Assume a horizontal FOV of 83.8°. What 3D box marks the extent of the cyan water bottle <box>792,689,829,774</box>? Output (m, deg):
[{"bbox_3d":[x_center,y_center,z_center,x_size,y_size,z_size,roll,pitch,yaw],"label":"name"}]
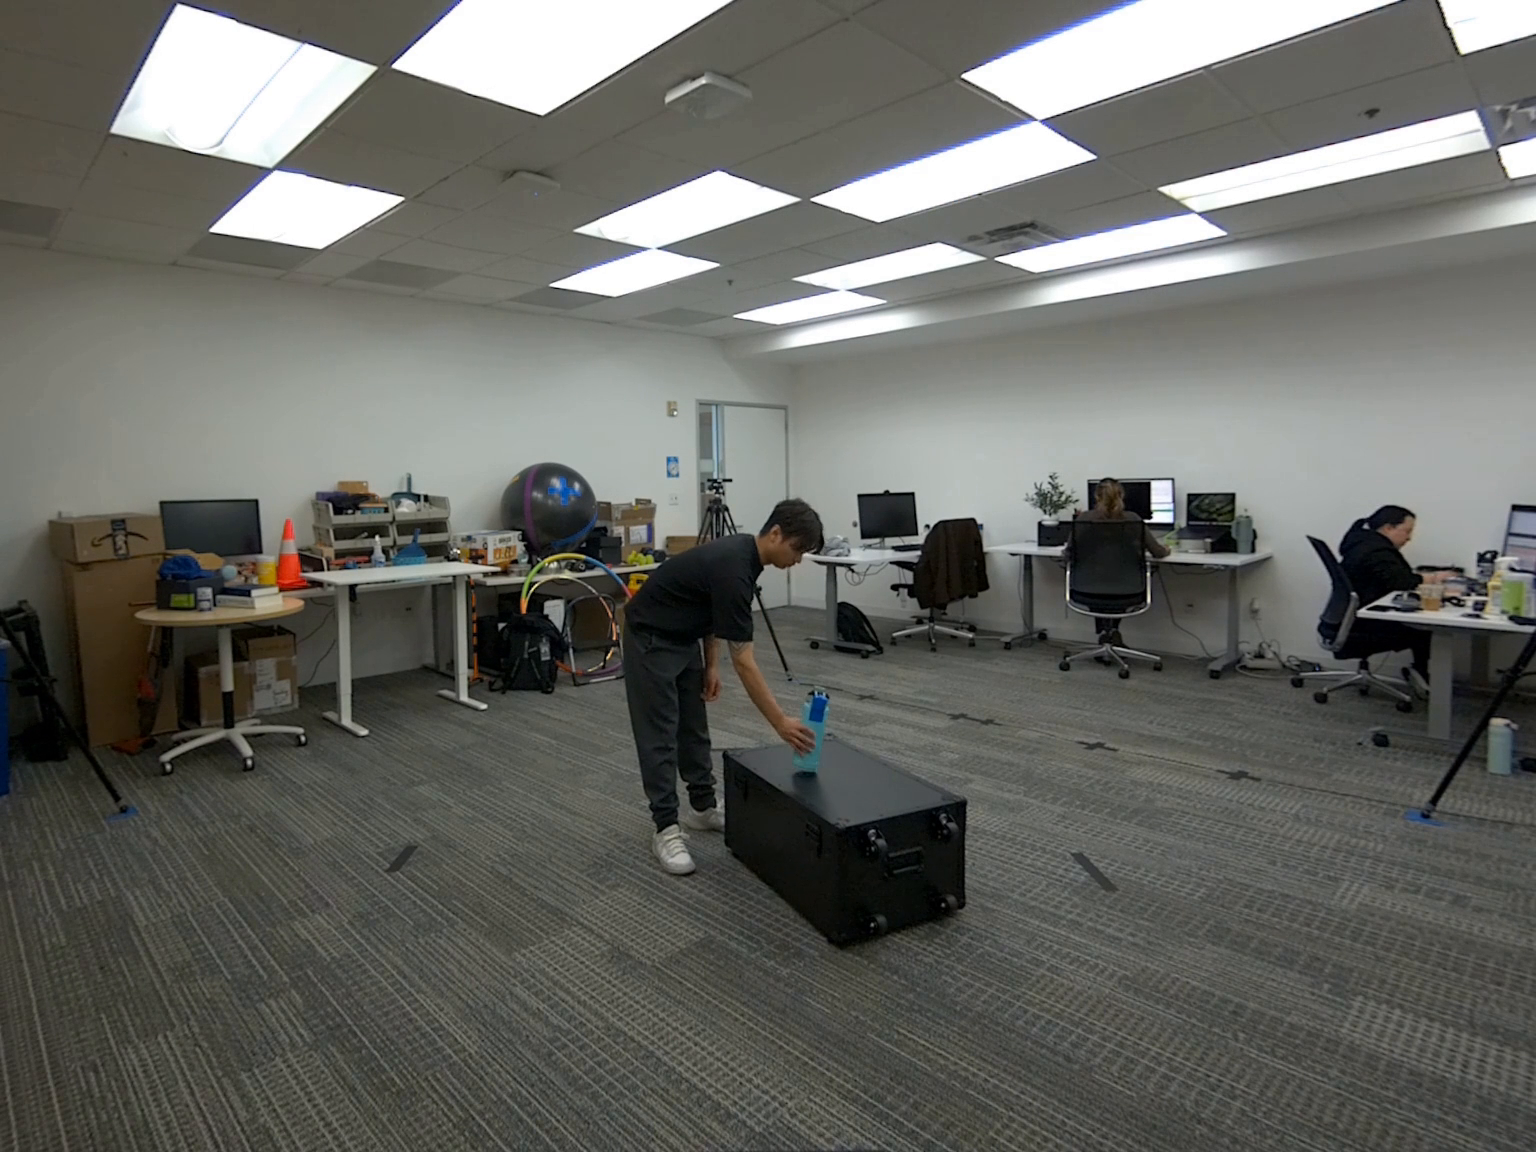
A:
[{"bbox_3d":[0.149,0.524,2.968,0.092,0.282,0.093,7,5,-2],"label":"cyan water bottle"}]
